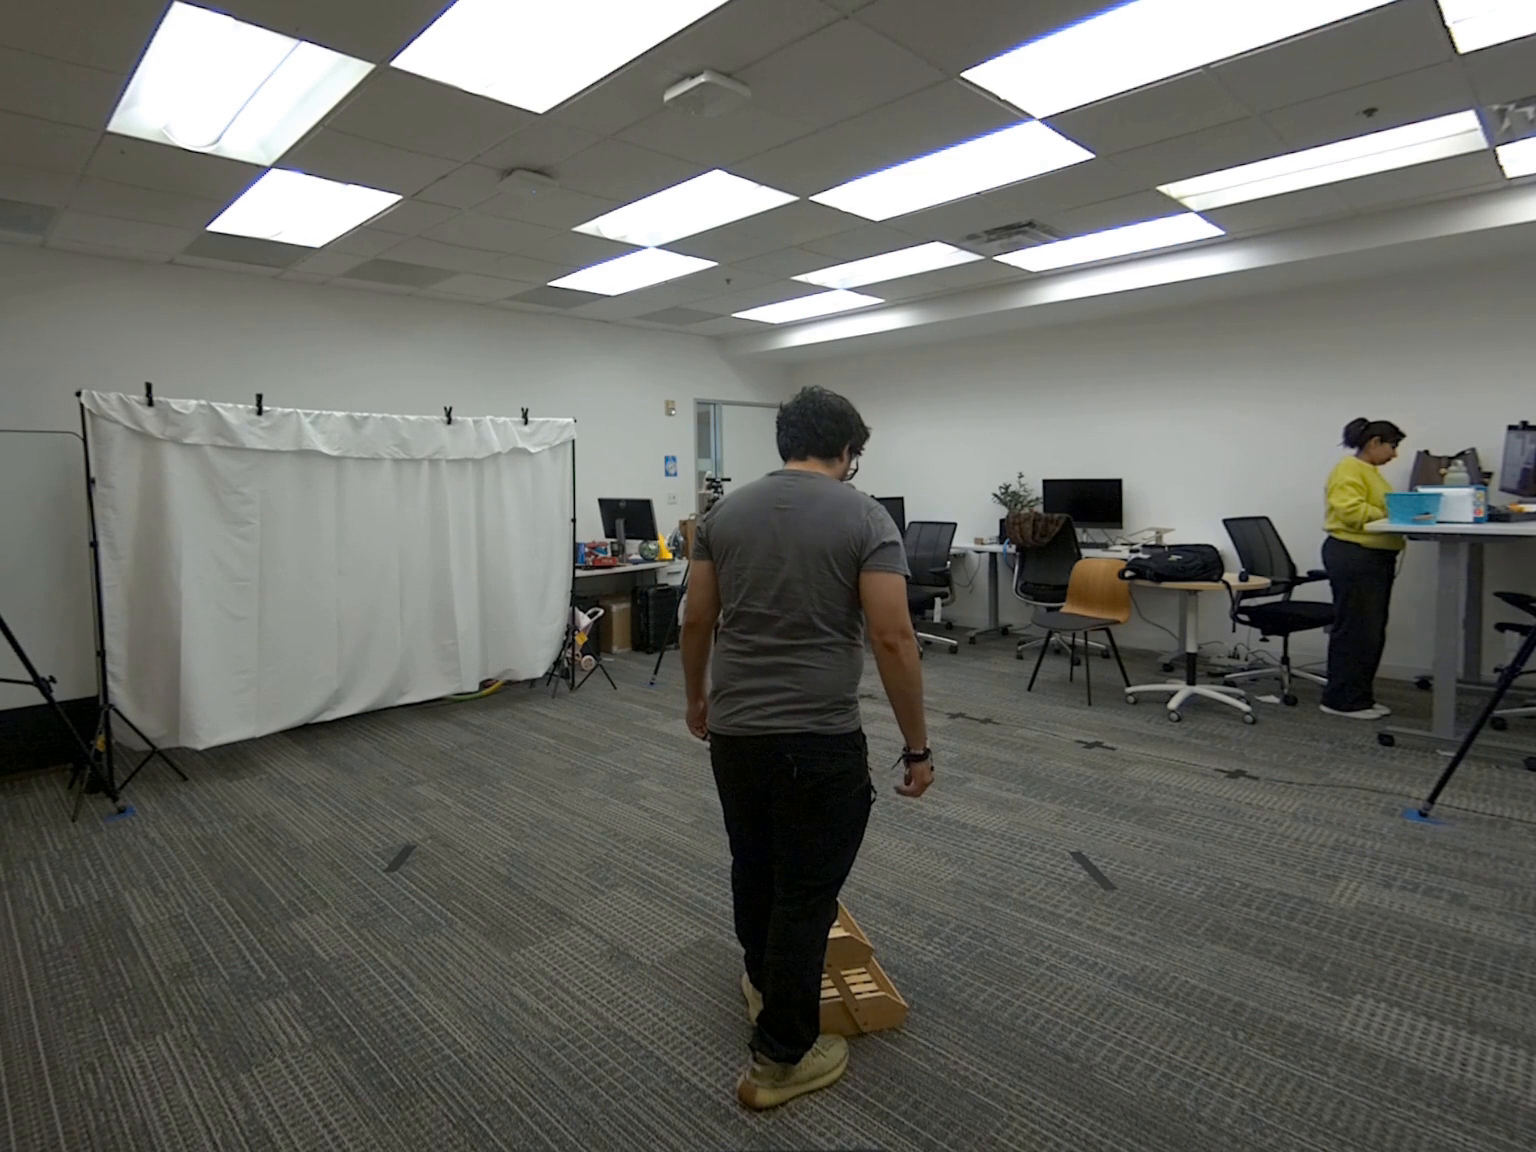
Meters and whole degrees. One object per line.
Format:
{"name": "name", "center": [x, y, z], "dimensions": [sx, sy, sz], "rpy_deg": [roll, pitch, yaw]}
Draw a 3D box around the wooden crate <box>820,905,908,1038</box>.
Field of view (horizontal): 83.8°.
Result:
{"name": "wooden crate", "center": [0.184, 1.005, 2.280], "dimensions": [0.298, 0.272, 0.330], "rpy_deg": [-3, 6, -14]}
